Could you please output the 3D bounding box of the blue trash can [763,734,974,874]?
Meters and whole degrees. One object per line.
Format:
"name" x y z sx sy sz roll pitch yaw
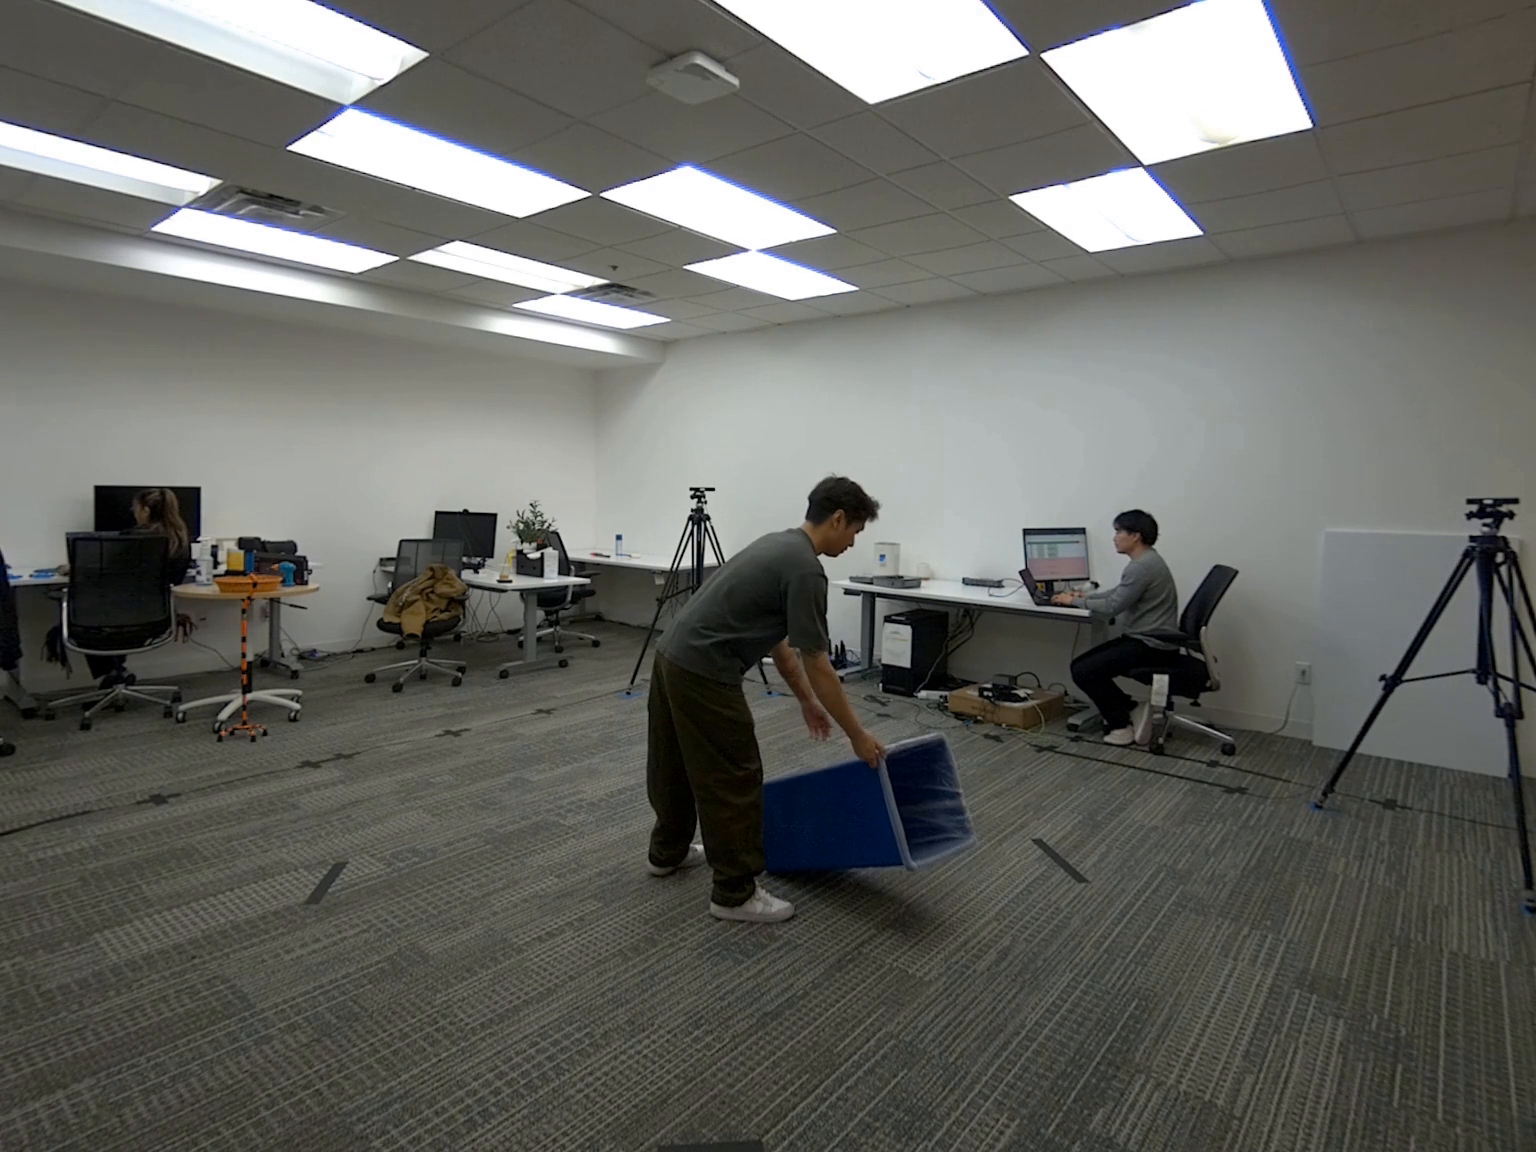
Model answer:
"blue trash can" 0.266 0.814 2.965 0.366 0.380 0.725 -2 -16 -43
